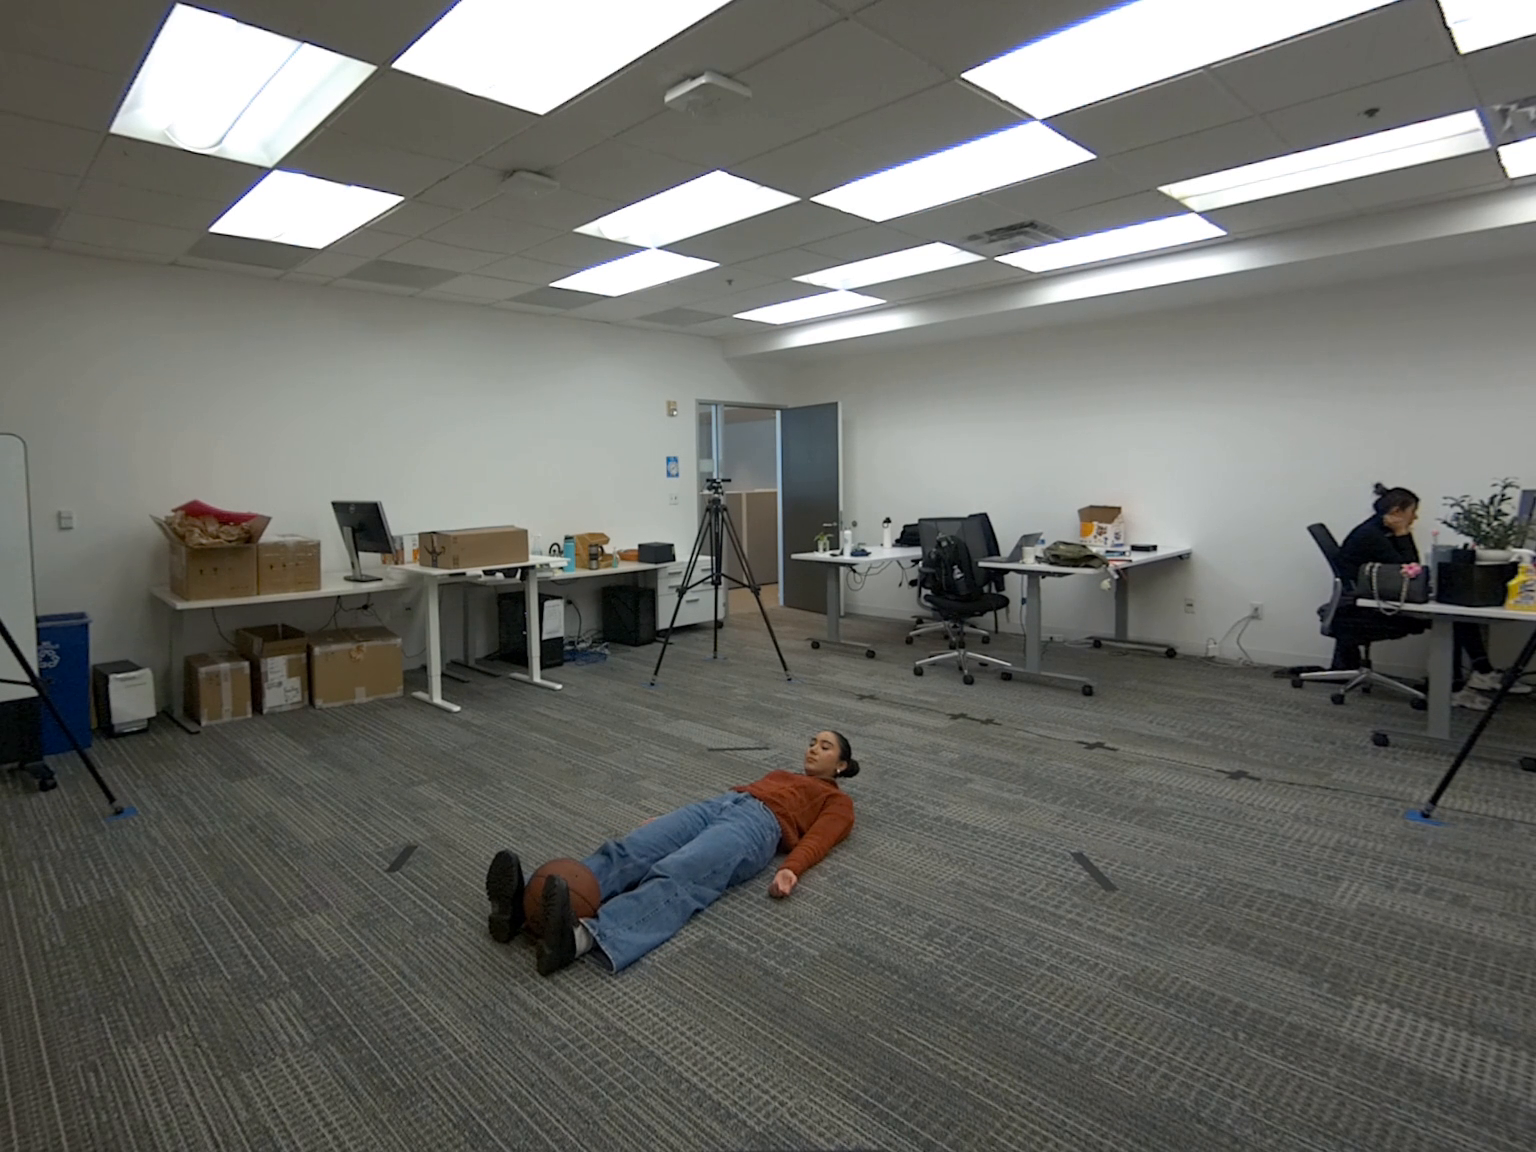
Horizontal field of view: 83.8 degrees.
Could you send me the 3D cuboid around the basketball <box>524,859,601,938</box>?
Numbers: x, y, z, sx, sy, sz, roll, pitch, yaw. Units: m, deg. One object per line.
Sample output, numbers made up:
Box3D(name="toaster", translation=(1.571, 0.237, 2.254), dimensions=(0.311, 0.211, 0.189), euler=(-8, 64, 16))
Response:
Box3D(name="basketball", translation=(-0.629, 0.999, 2.626), dimensions=(0.236, 0.235, 0.237), euler=(-1, 5, -2))
